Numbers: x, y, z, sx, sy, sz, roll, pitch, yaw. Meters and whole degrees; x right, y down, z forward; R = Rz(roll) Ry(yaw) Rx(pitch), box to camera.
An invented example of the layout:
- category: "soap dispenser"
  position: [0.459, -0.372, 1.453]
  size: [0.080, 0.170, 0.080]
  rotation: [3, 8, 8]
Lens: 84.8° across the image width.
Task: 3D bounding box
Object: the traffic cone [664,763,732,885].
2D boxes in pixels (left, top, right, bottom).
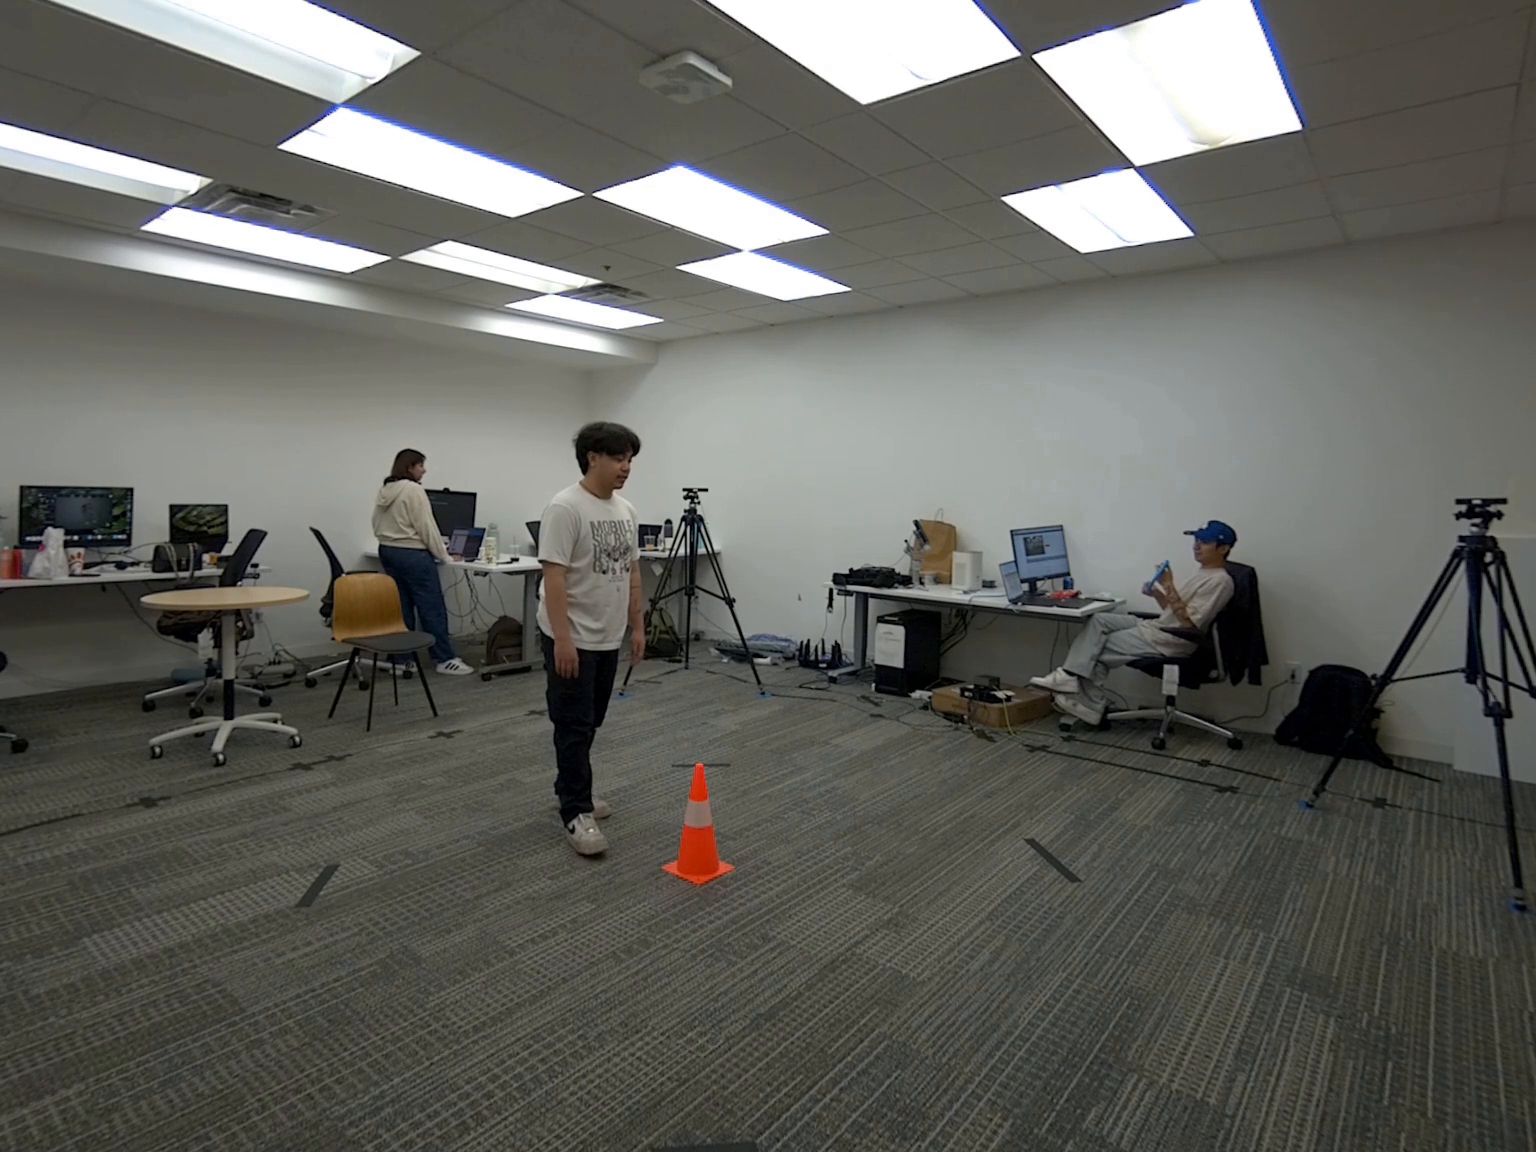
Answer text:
- category: "traffic cone"
  position: [-0.262, 0.885, 3.114]
  size: [0.210, 0.383, 0.199]
  rotation: [3, 2, 35]
